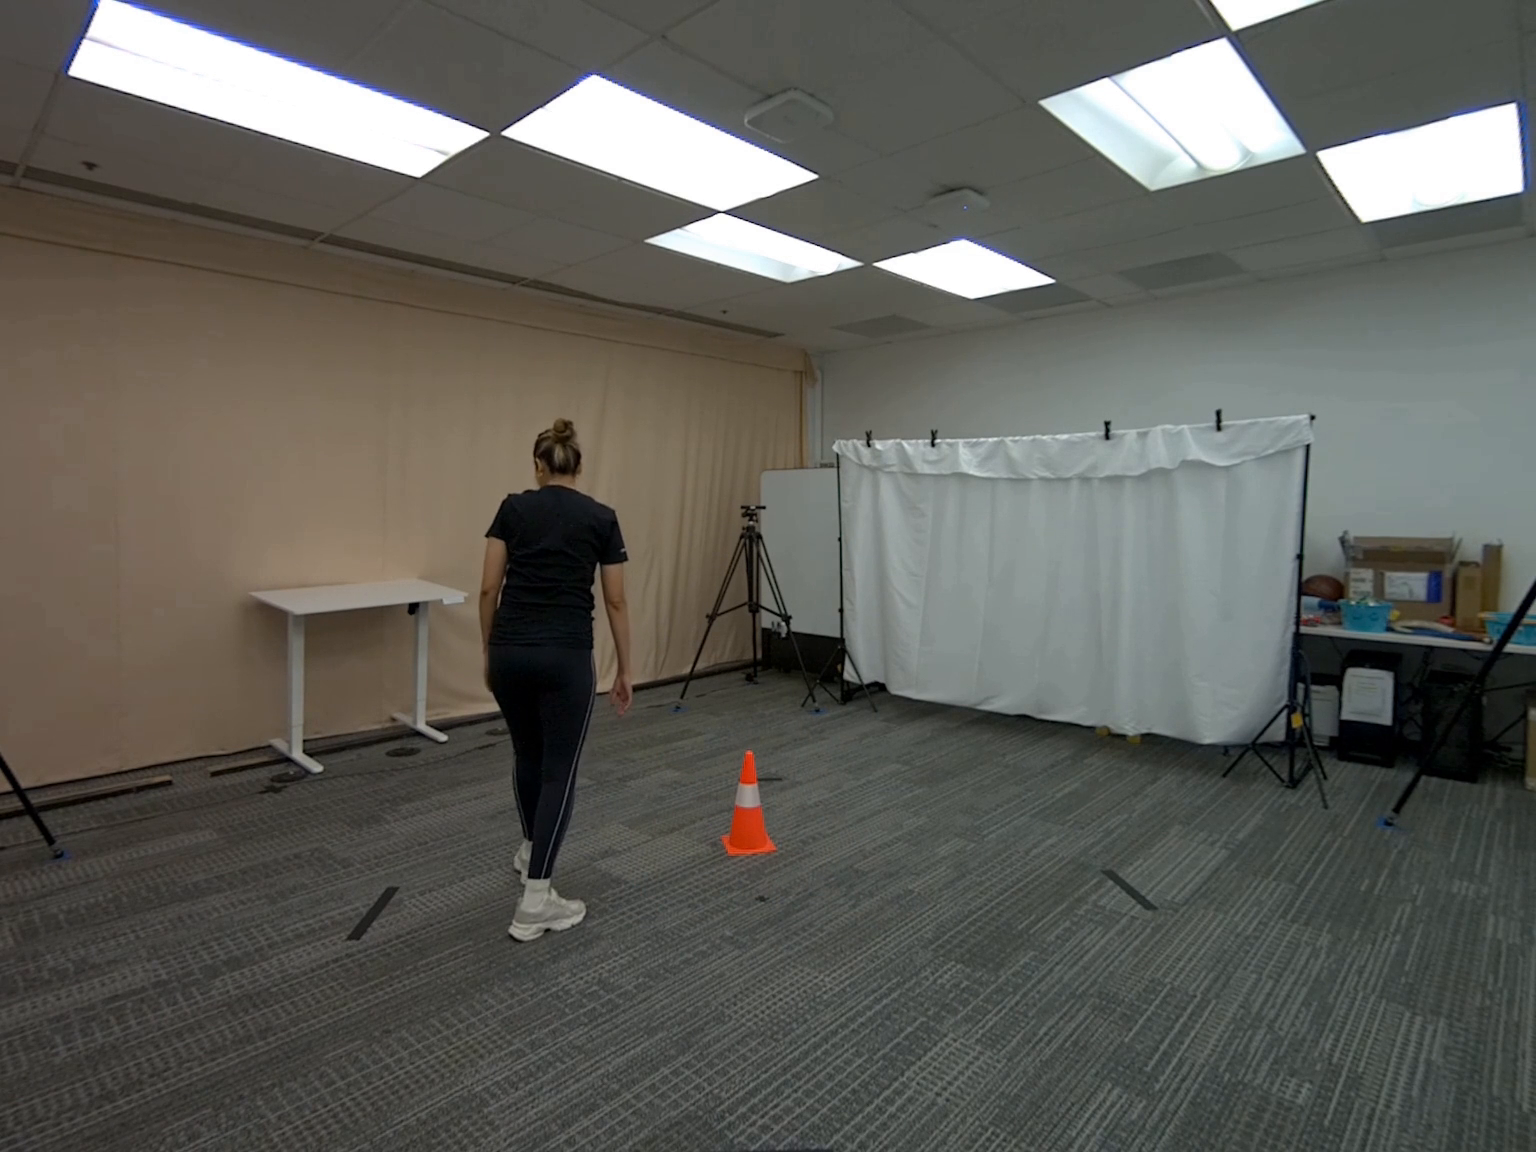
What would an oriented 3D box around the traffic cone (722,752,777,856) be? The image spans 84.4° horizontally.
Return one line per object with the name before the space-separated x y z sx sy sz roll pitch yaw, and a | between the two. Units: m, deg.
traffic cone | -0.084 0.919 3.466 0.203 0.383 0.205 -2 1 -10
